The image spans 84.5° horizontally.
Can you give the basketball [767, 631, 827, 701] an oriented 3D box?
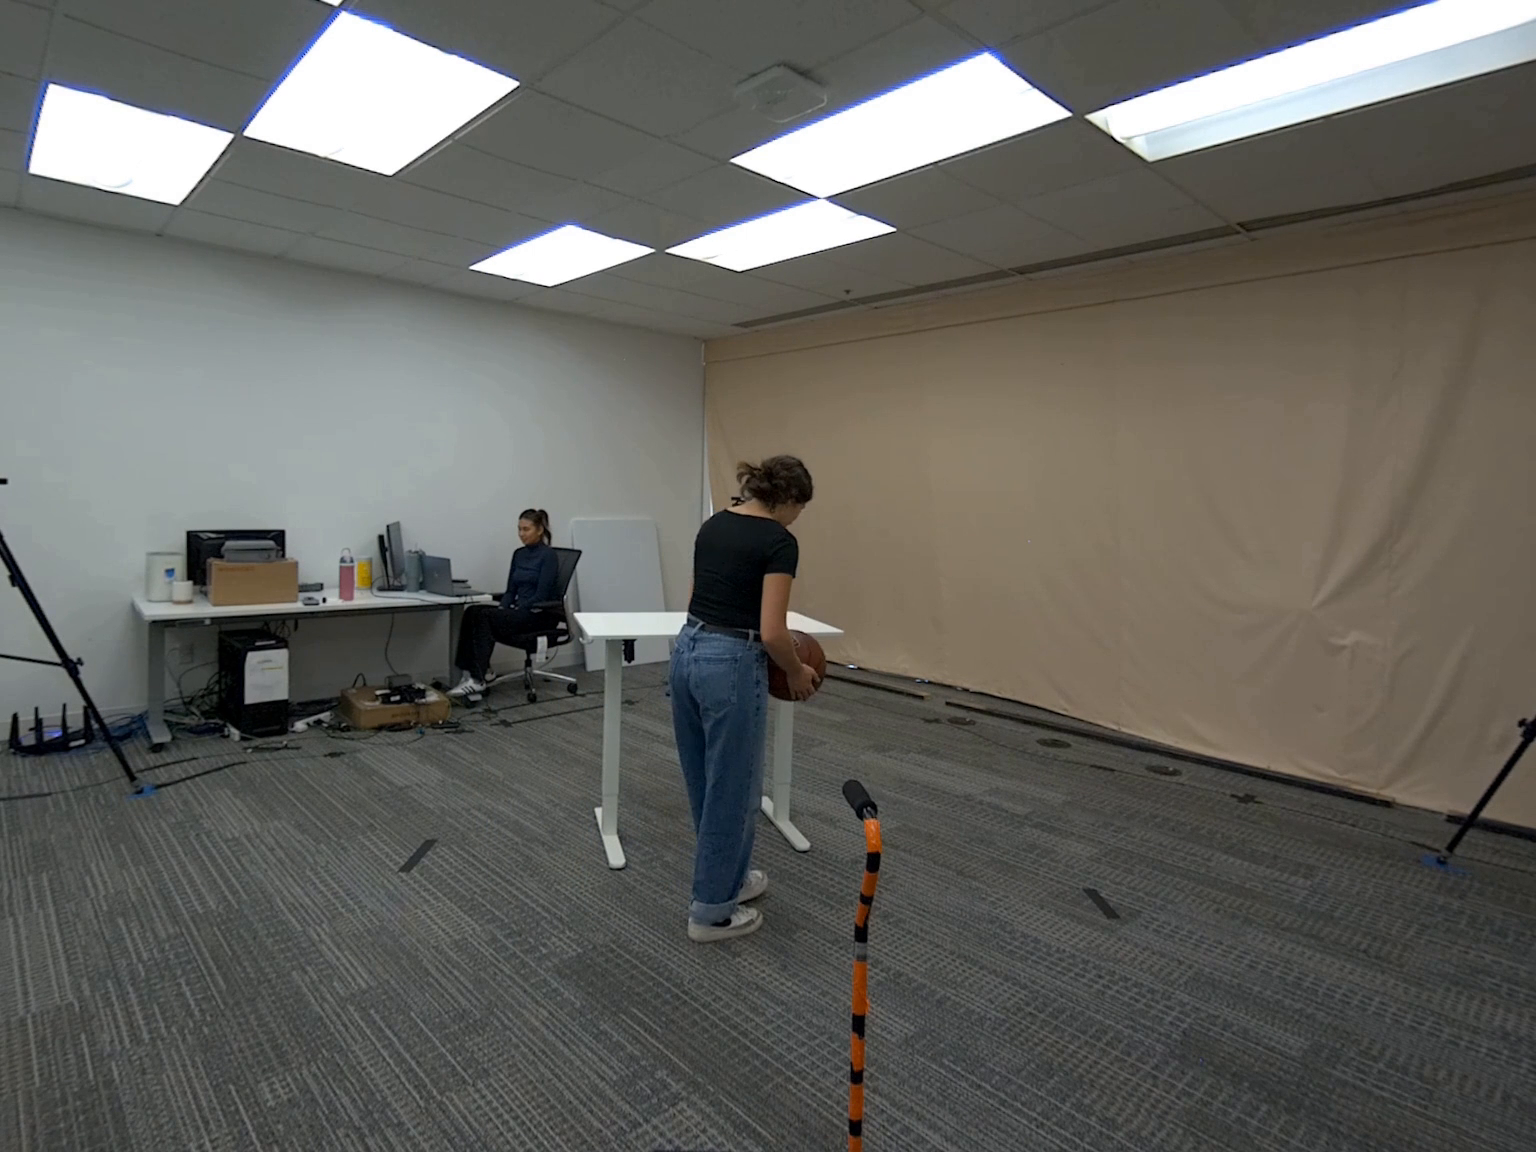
[{"bbox_3d":[0.070,0.302,2.817,0.236,0.235,0.237,1,4,-1],"label":"basketball"}]
